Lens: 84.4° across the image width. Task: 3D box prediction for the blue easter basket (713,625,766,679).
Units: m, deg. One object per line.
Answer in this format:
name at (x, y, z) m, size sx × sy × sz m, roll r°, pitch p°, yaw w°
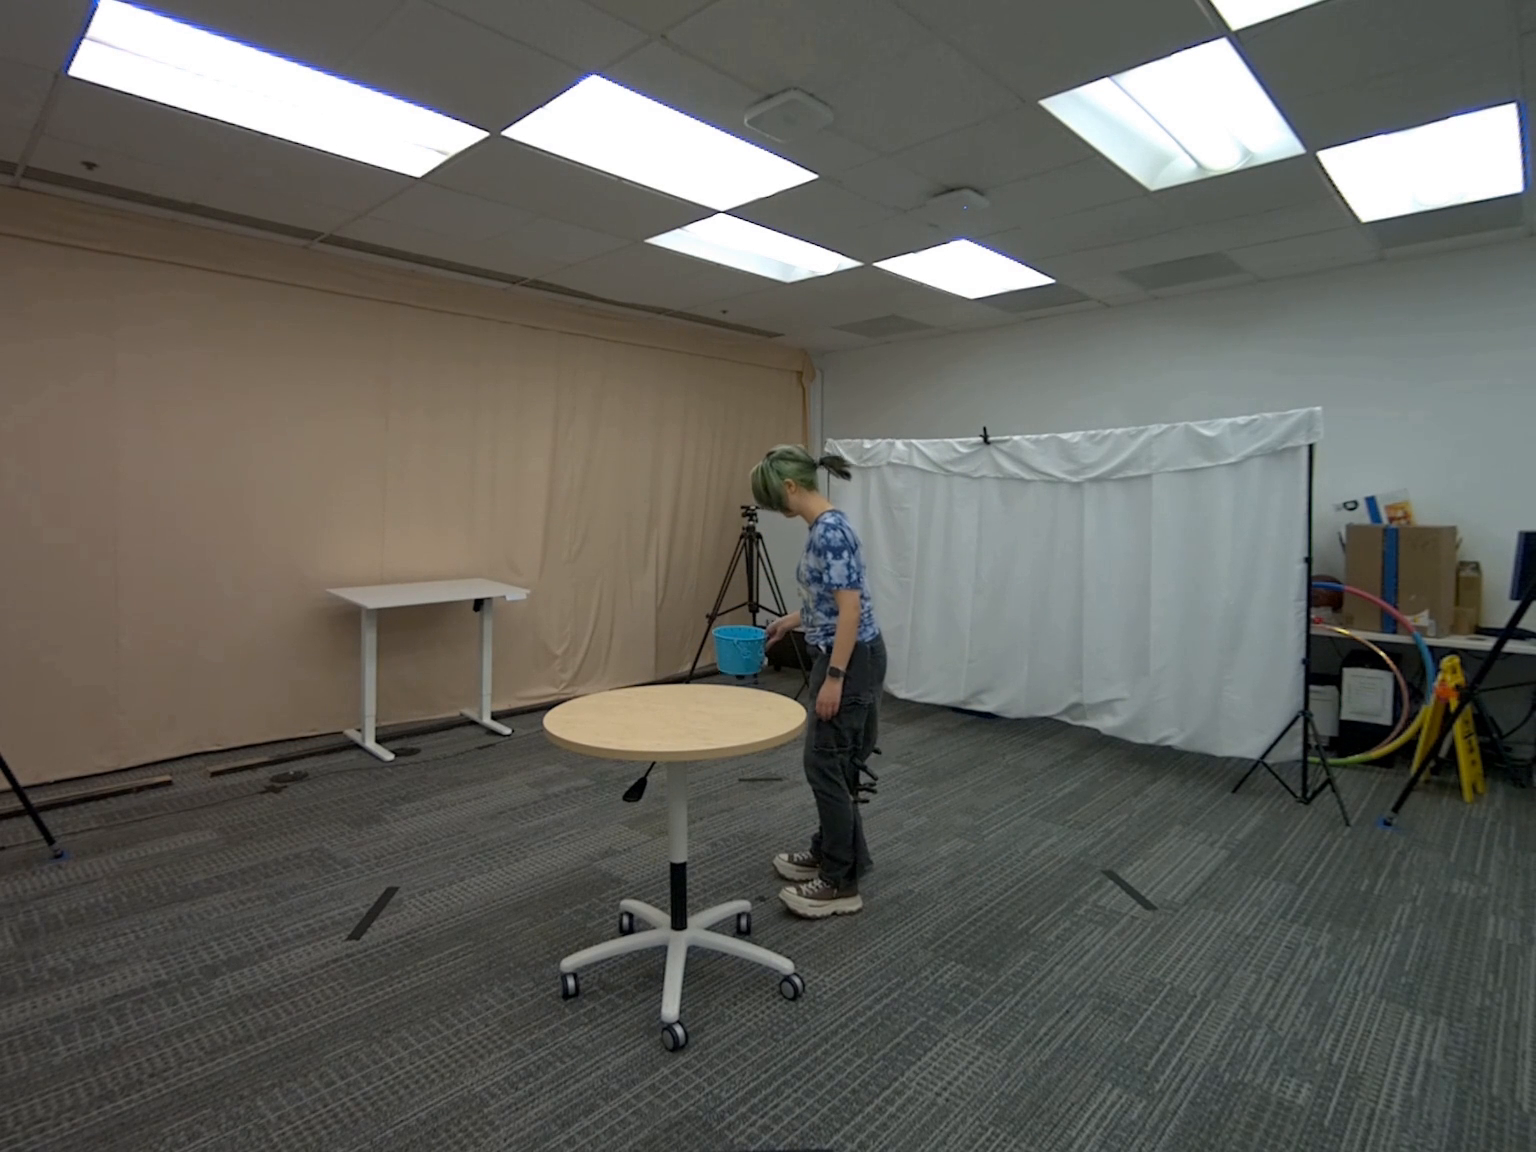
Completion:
blue easter basket at (-0.112, 0.311, 3.461) m, size 0.243 × 0.155 × 0.245 m, roll 1°, pitch 9°, yaw -2°
